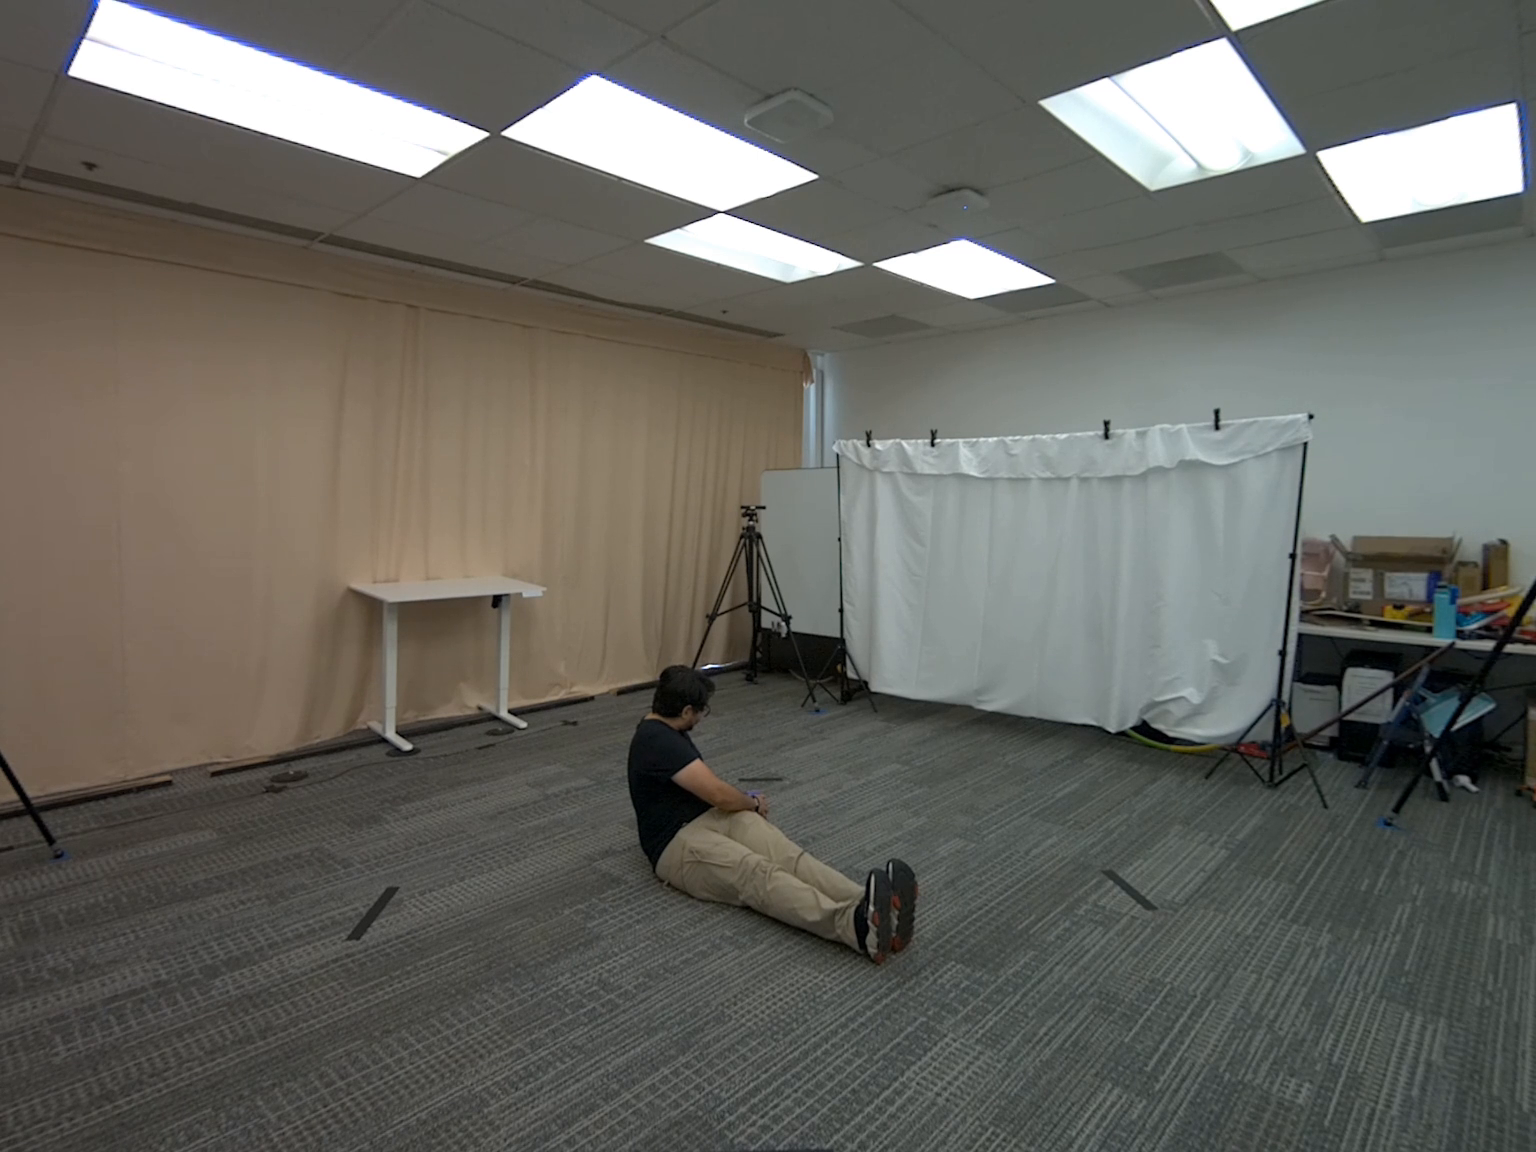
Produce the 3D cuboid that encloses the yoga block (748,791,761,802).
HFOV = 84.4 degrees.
[{"bbox_3d":[-0.117,0.995,3.442,0.075,0.151,0.229,1,-23,-13],"label":"yoga block"}]
